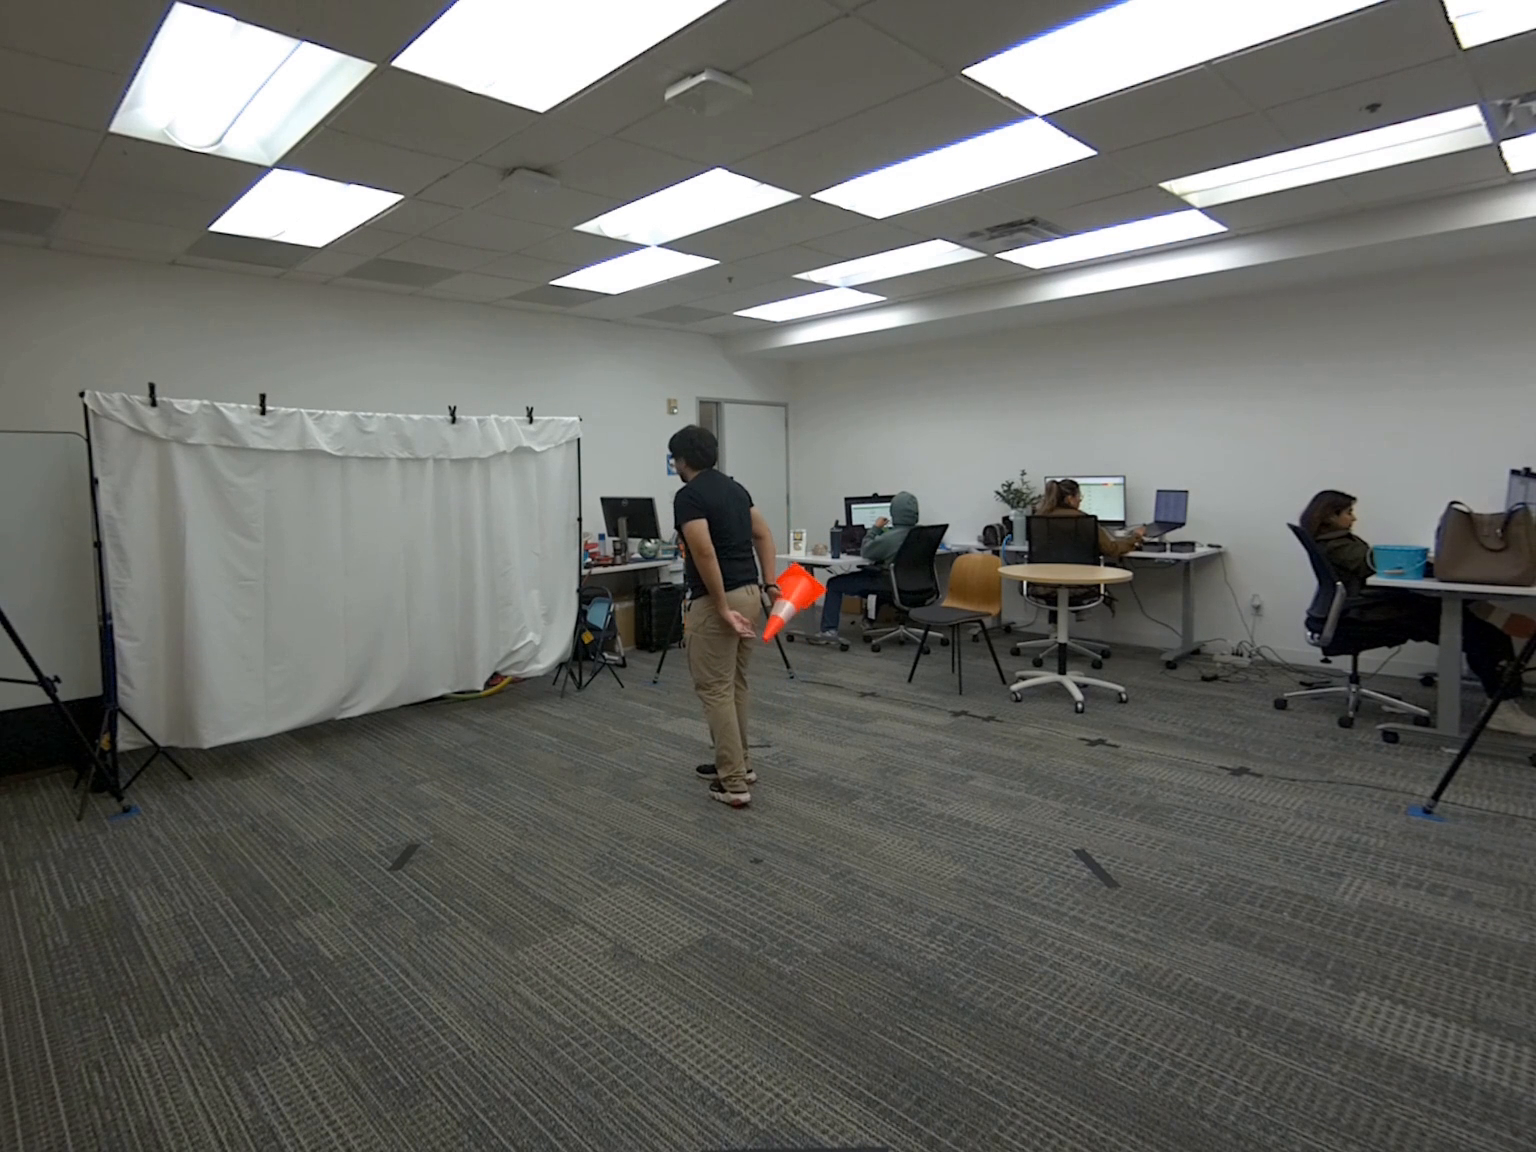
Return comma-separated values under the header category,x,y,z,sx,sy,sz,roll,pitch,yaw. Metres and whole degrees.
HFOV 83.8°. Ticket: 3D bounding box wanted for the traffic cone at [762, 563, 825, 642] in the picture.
category,x,y,z,sx,sy,sz,roll,pitch,yaw
traffic cone,0.063,0.165,3.836,0.203,0.204,0.385,-46,6,49
